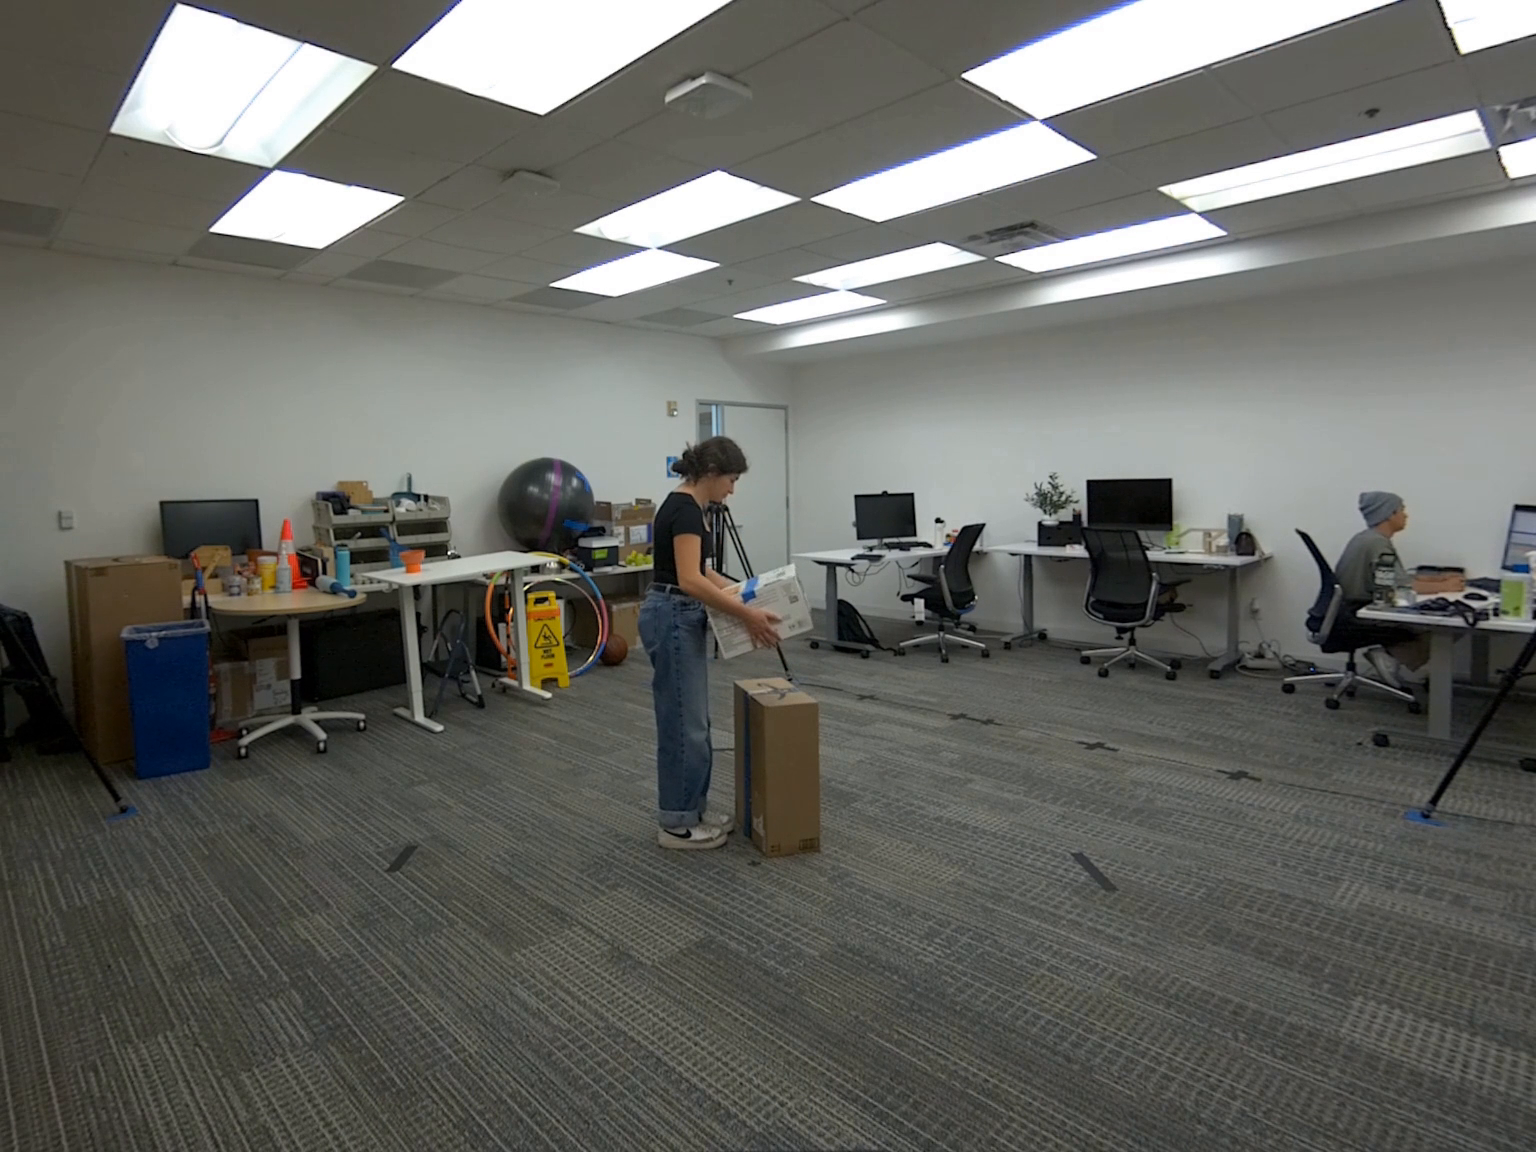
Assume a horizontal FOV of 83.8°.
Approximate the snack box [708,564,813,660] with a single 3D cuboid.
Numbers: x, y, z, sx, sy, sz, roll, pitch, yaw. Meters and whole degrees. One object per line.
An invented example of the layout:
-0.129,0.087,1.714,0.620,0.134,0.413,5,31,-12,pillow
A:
-0.027,0.125,3.214,0.341,0.205,0.406,-20,5,5,snack box
